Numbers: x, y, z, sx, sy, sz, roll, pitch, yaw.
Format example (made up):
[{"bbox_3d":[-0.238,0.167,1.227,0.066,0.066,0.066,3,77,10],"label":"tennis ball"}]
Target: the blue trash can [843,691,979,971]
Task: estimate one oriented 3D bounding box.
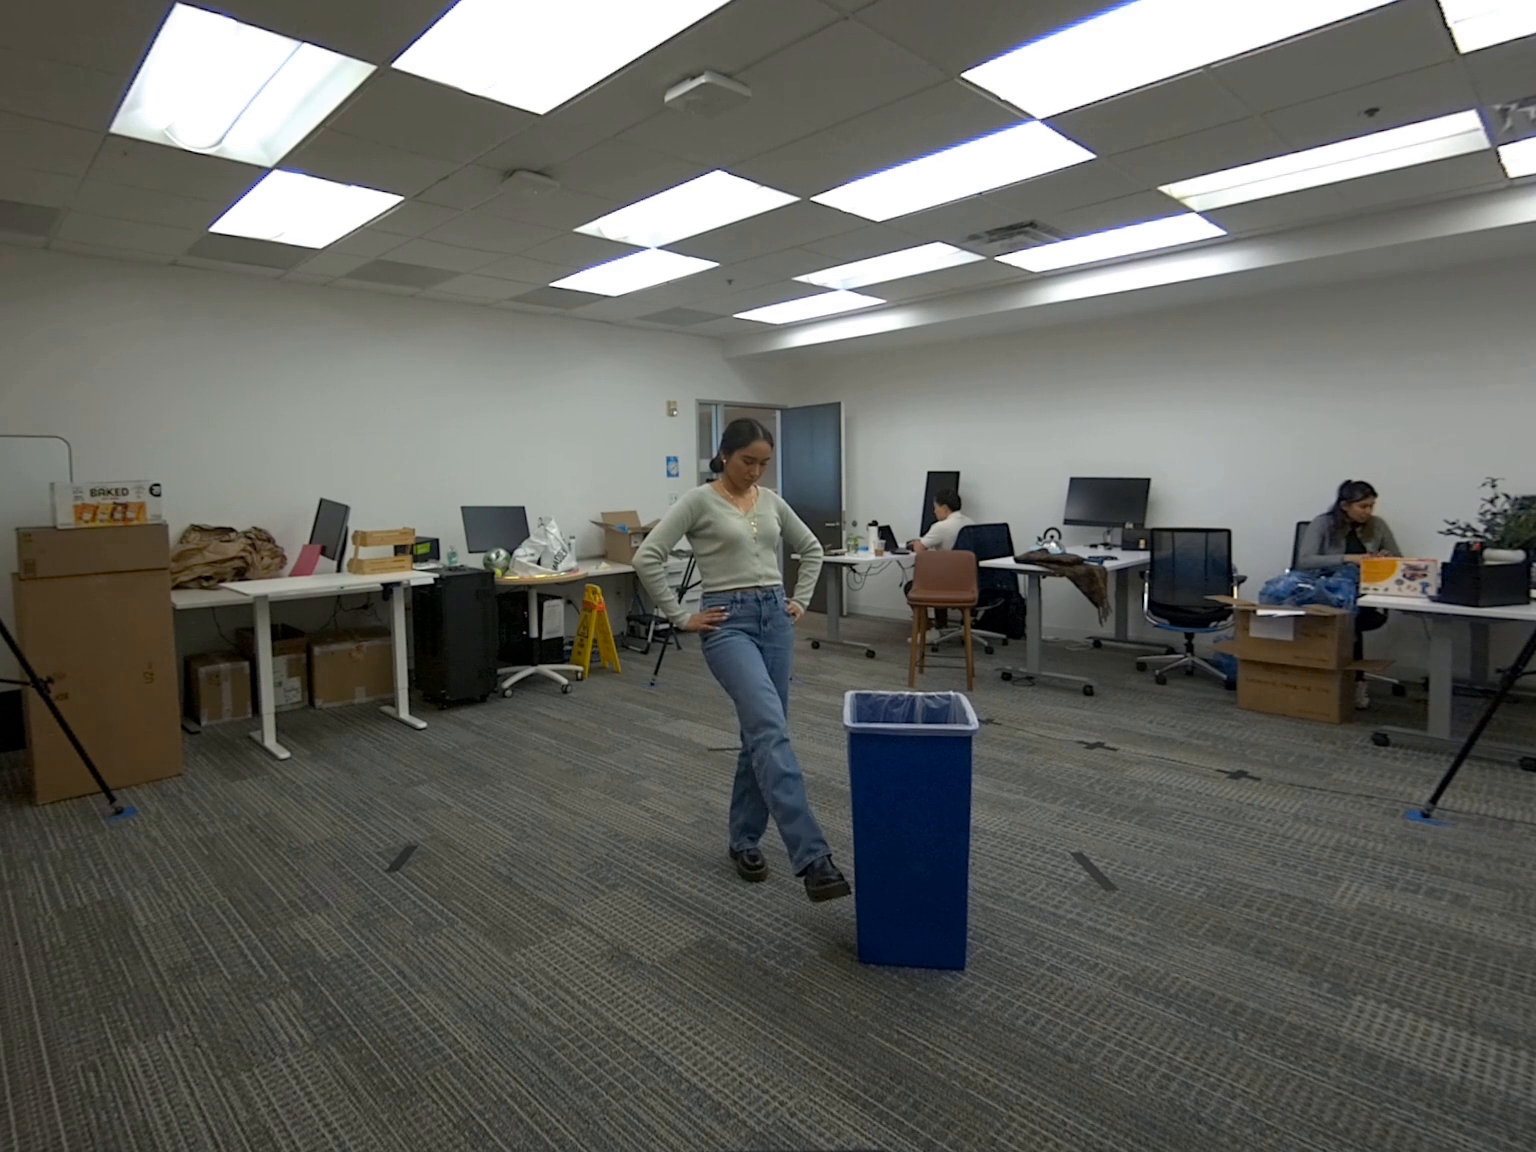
[{"bbox_3d":[0.419,0.744,2.546,0.377,0.710,0.377,0,5,7],"label":"blue trash can"}]
